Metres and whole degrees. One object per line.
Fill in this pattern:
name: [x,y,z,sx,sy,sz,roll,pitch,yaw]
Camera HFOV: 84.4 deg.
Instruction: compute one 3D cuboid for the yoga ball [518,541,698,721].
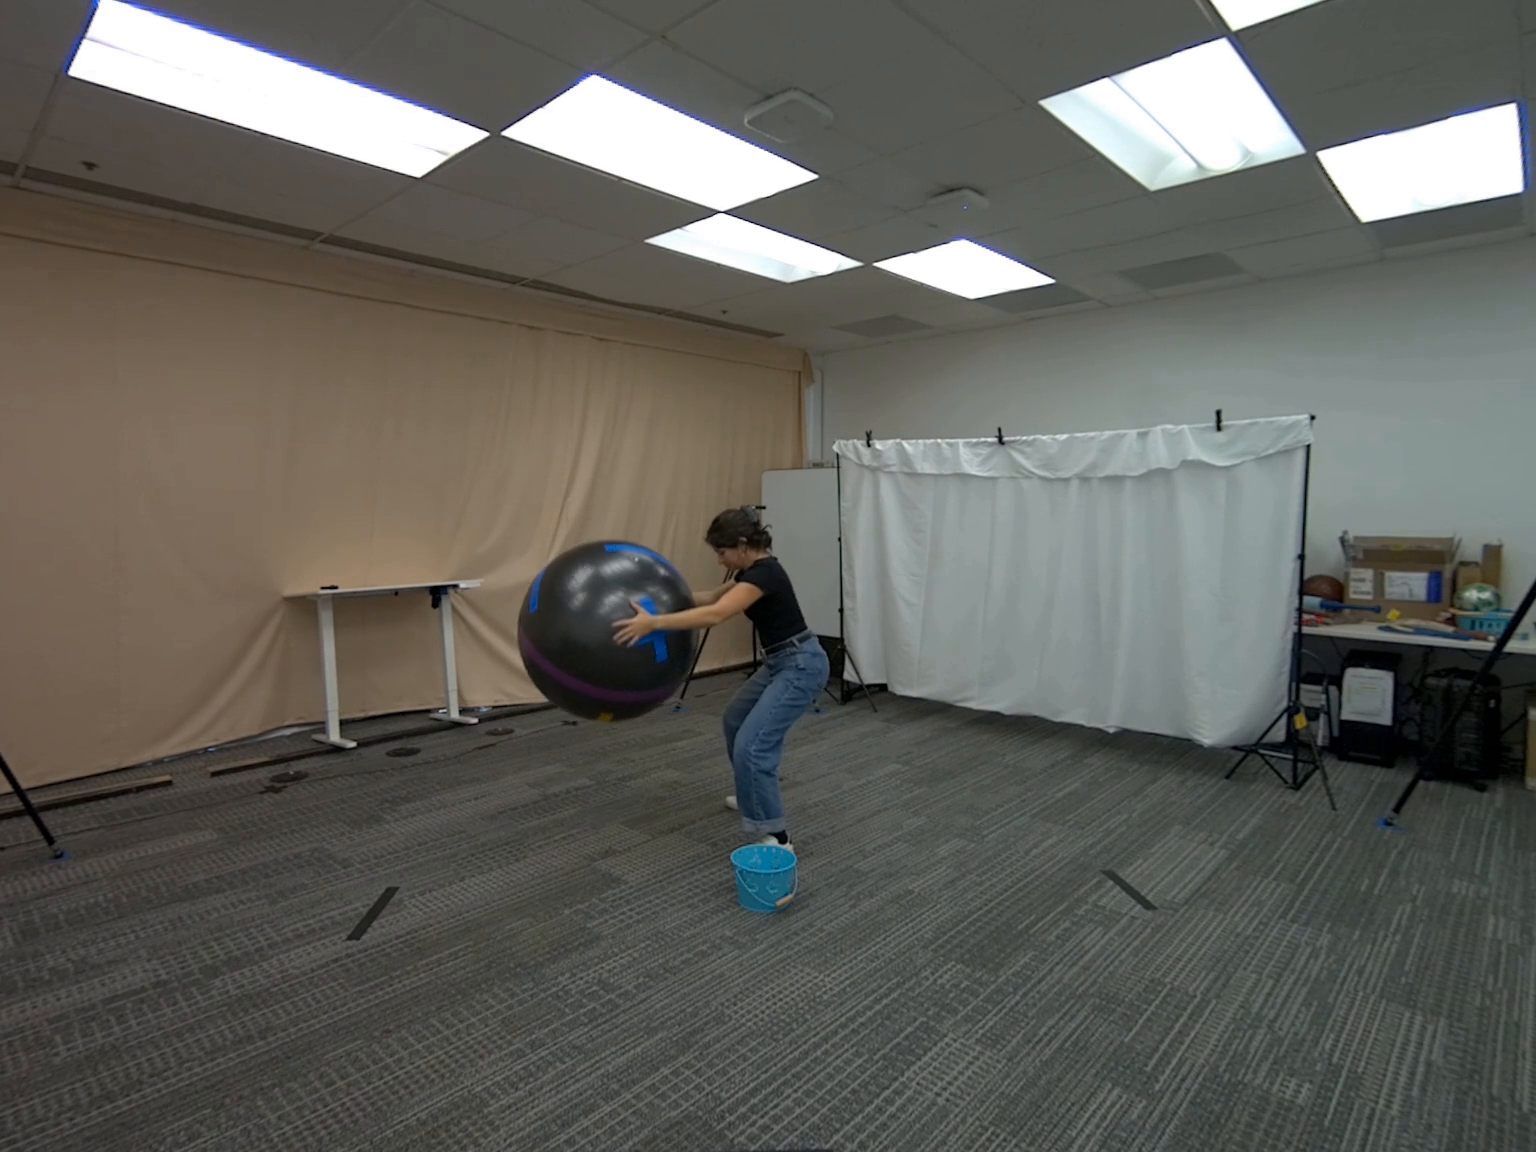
yoga ball: [-0.664,0.224,3.553,0.757,0.756,0.760,0,4,-2]
